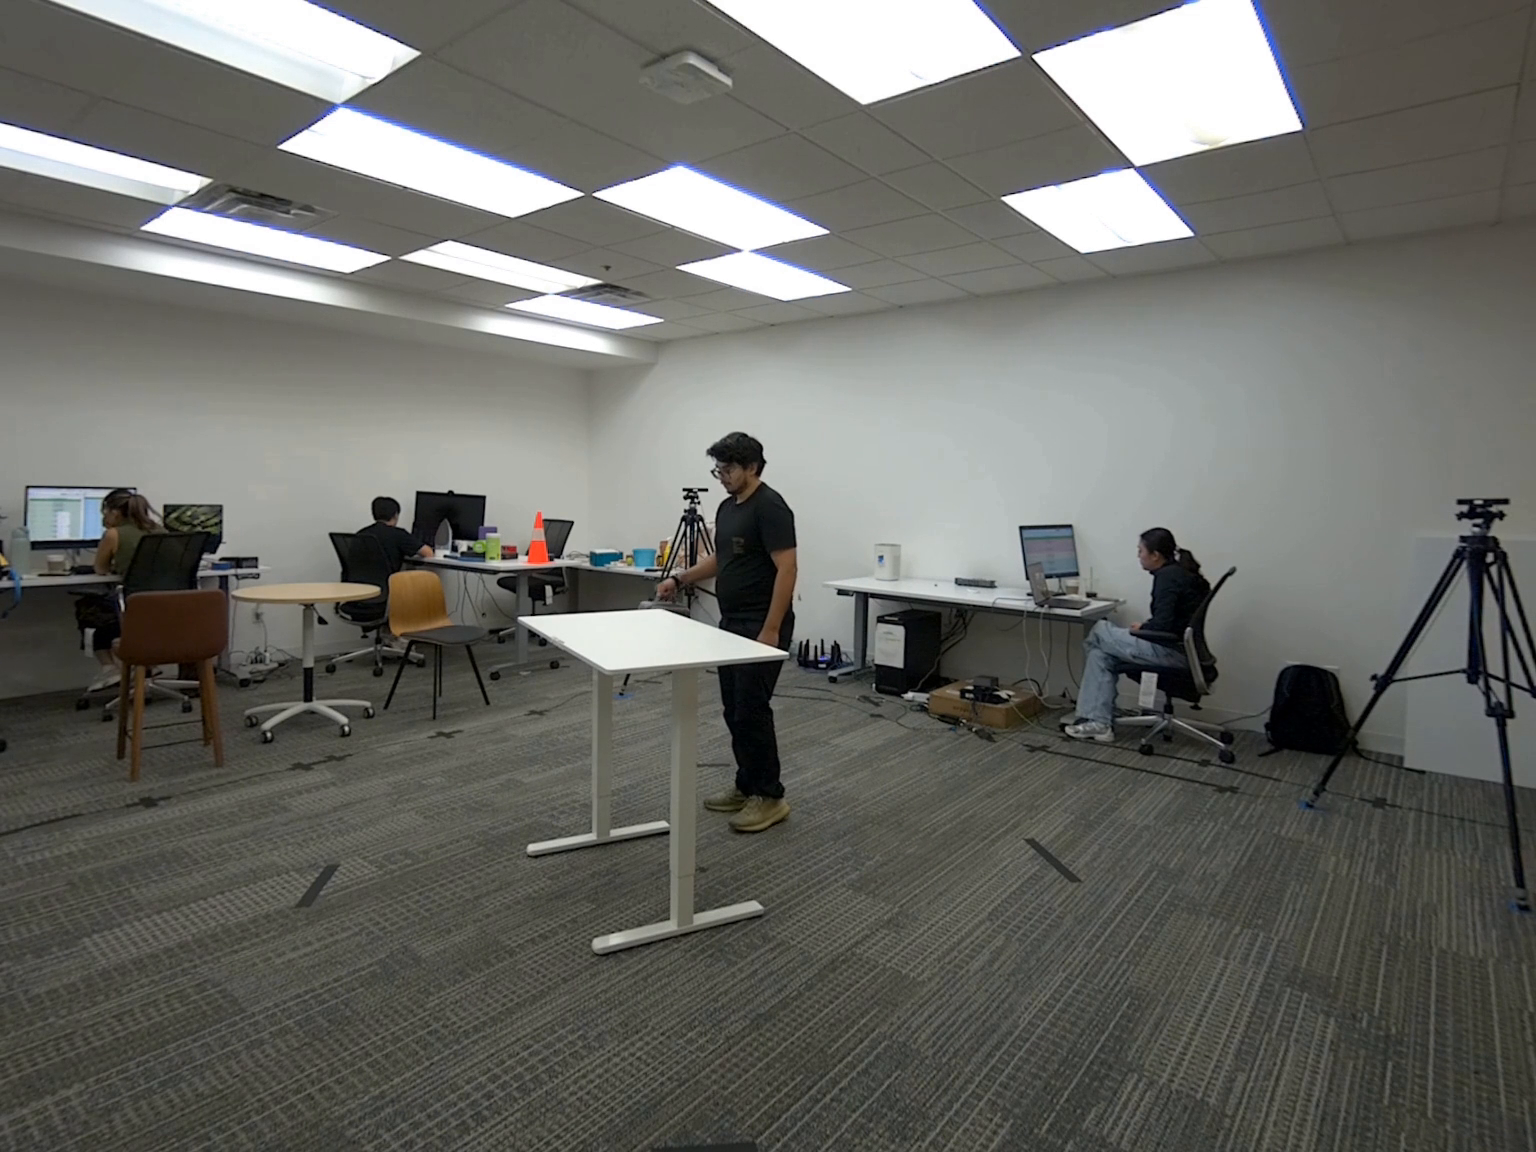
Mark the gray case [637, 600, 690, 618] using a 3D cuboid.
[{"bbox_3d":[-0.490,0.232,3.798,0.108,0.259,0.248,21,10,40],"label":"gray case"}]
